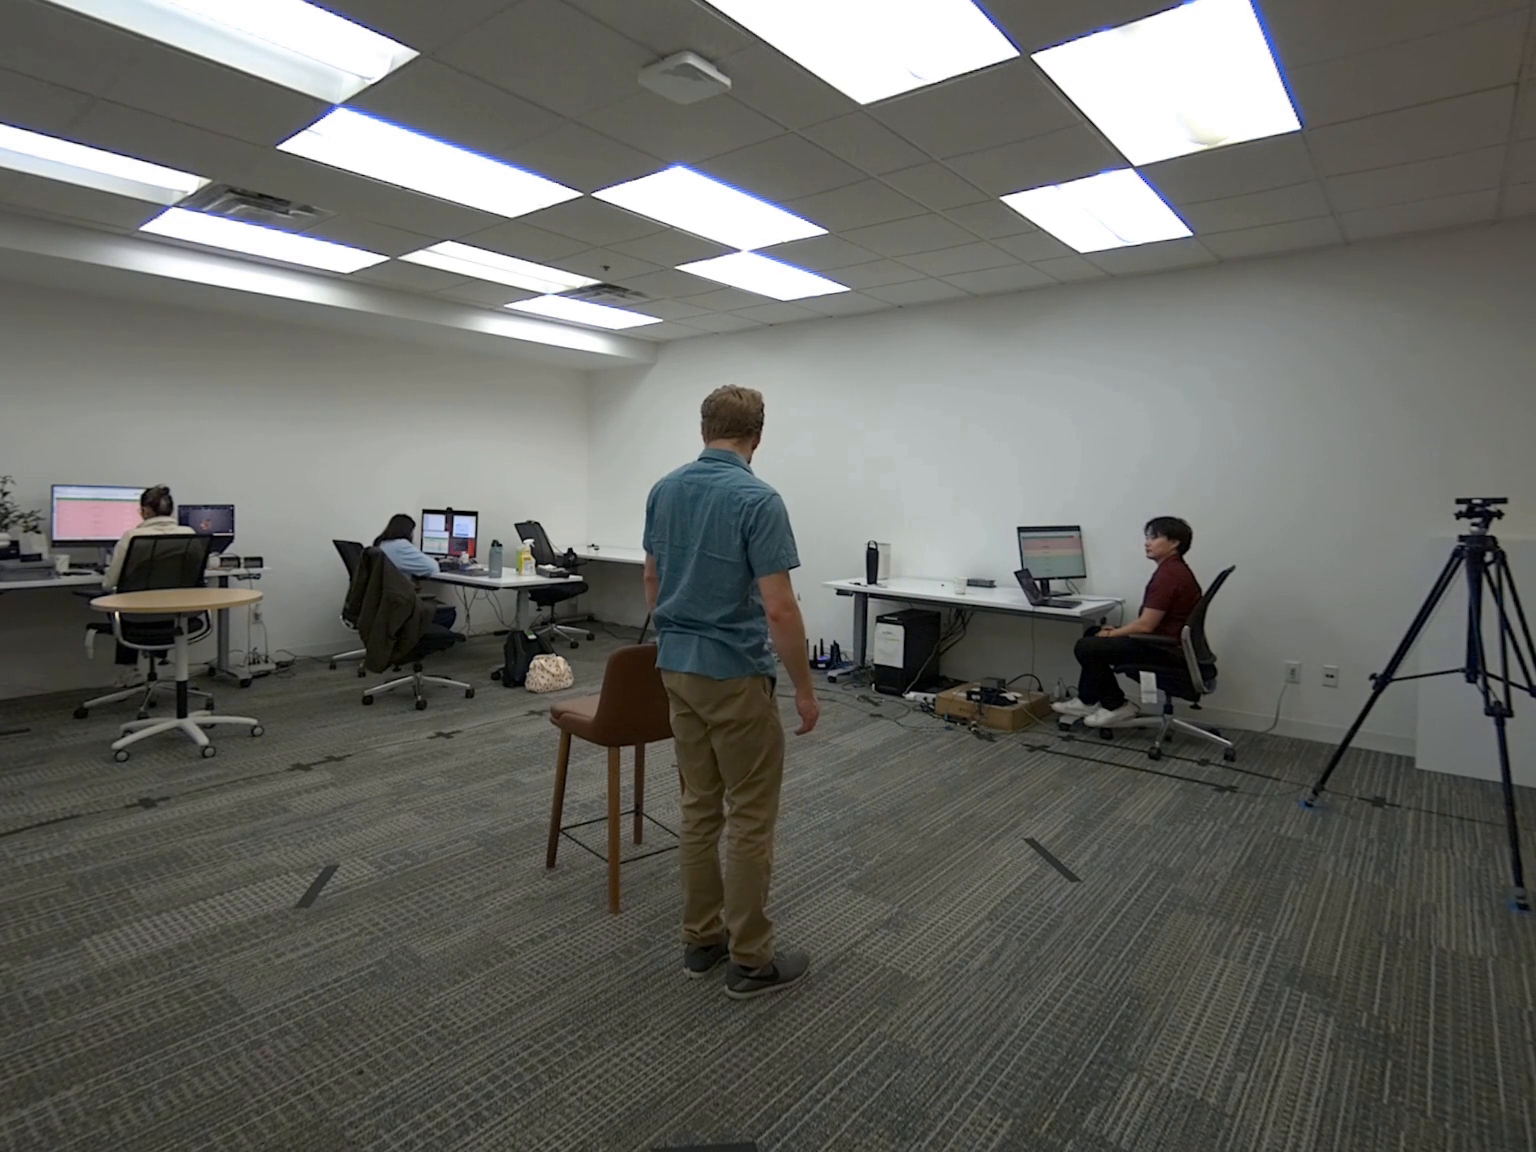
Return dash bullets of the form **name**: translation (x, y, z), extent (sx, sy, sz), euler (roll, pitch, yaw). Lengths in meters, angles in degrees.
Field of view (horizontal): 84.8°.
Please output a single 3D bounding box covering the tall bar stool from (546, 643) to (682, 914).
- **tall bar stool**: translation (-0.511, 0.635, 3.024), extent (0.443, 0.886, 0.484), euler (-1, 6, -40)
